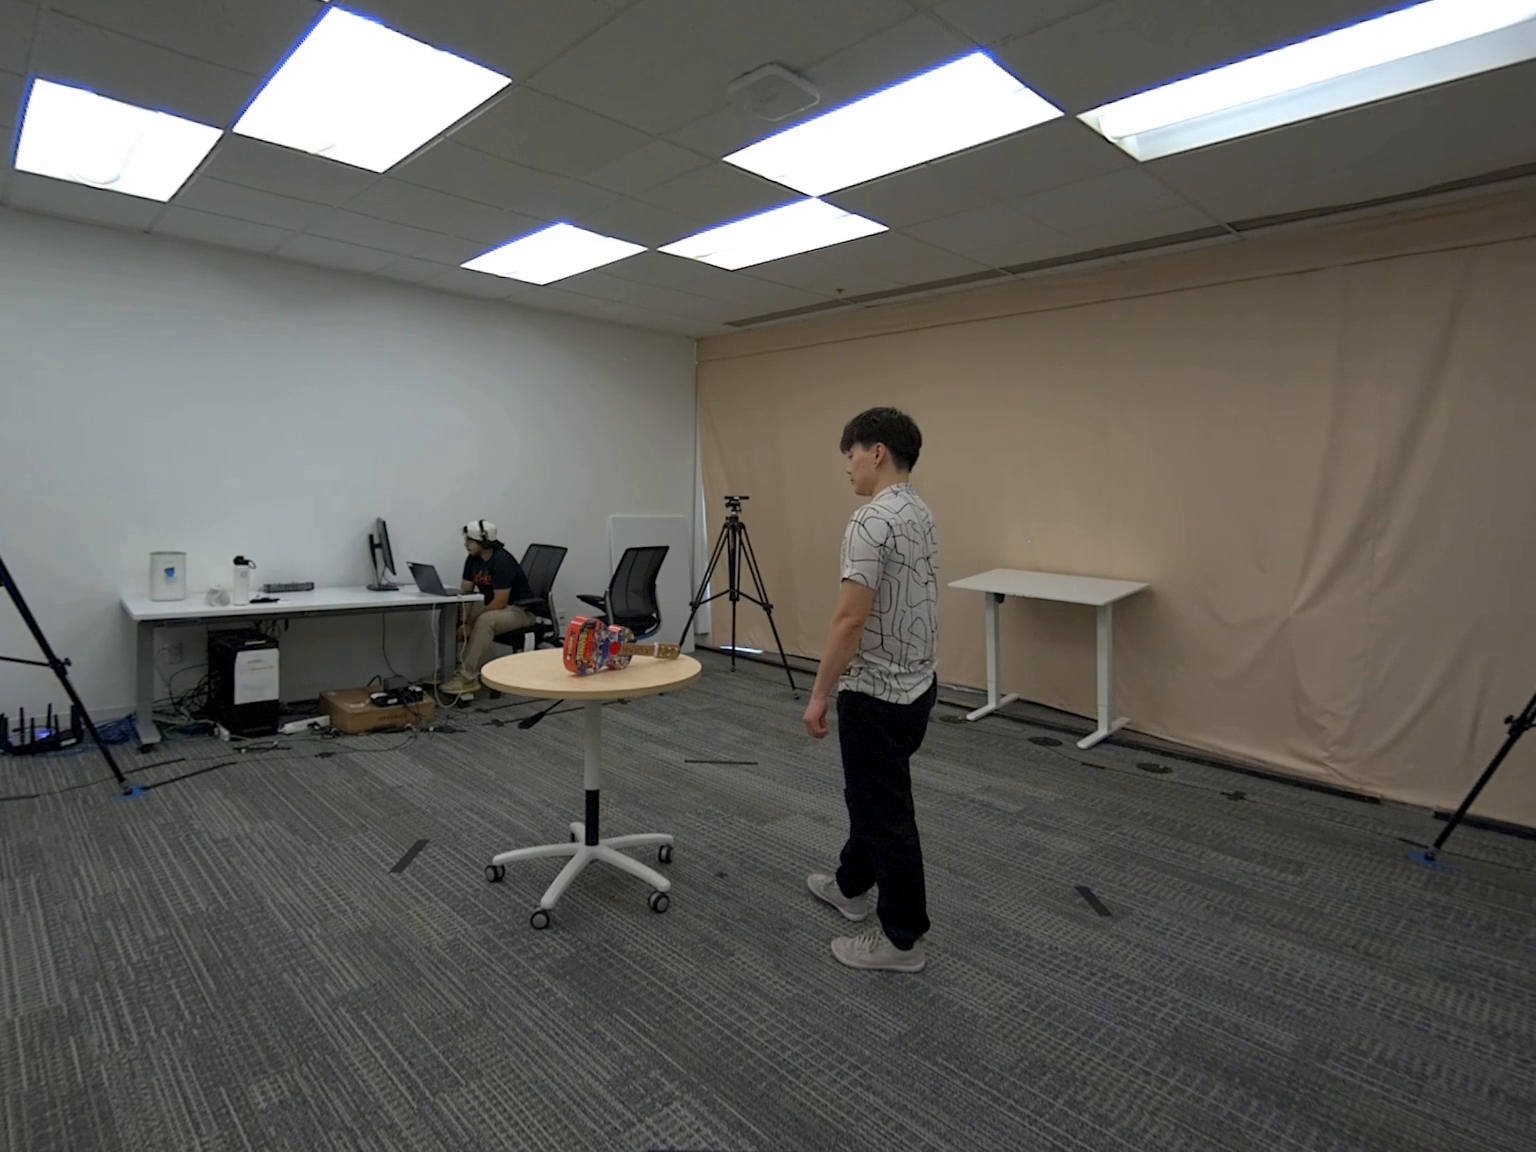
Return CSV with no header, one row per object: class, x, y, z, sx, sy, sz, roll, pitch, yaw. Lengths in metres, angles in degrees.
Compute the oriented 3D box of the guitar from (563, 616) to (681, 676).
guitar,-0.514,0.283,2.962,0.072,0.194,0.483,5,-13,39
